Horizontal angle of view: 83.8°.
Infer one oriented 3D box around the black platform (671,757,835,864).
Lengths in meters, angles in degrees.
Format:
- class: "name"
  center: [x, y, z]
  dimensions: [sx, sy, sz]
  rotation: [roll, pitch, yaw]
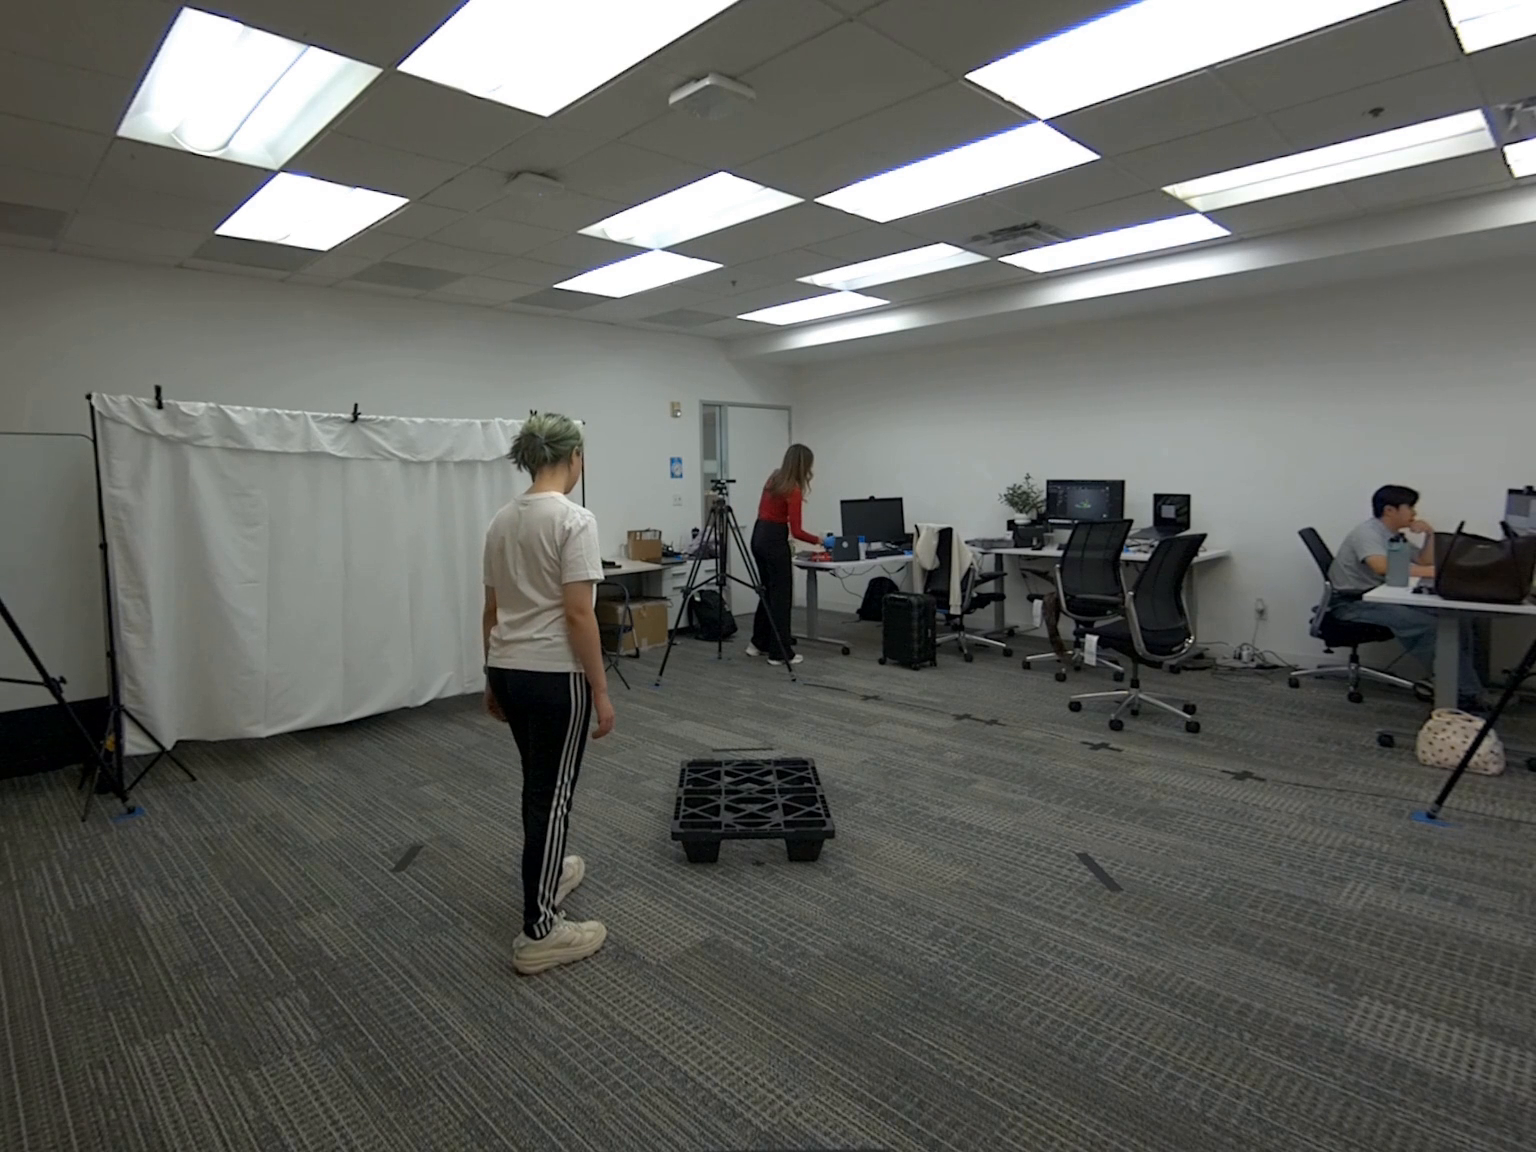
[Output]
- class: "black platform"
  center: [-0.075, 0.937, 3.476]
  dimensions: [0.605, 0.143, 0.809]
  rotation: [-2, 6, -1]
